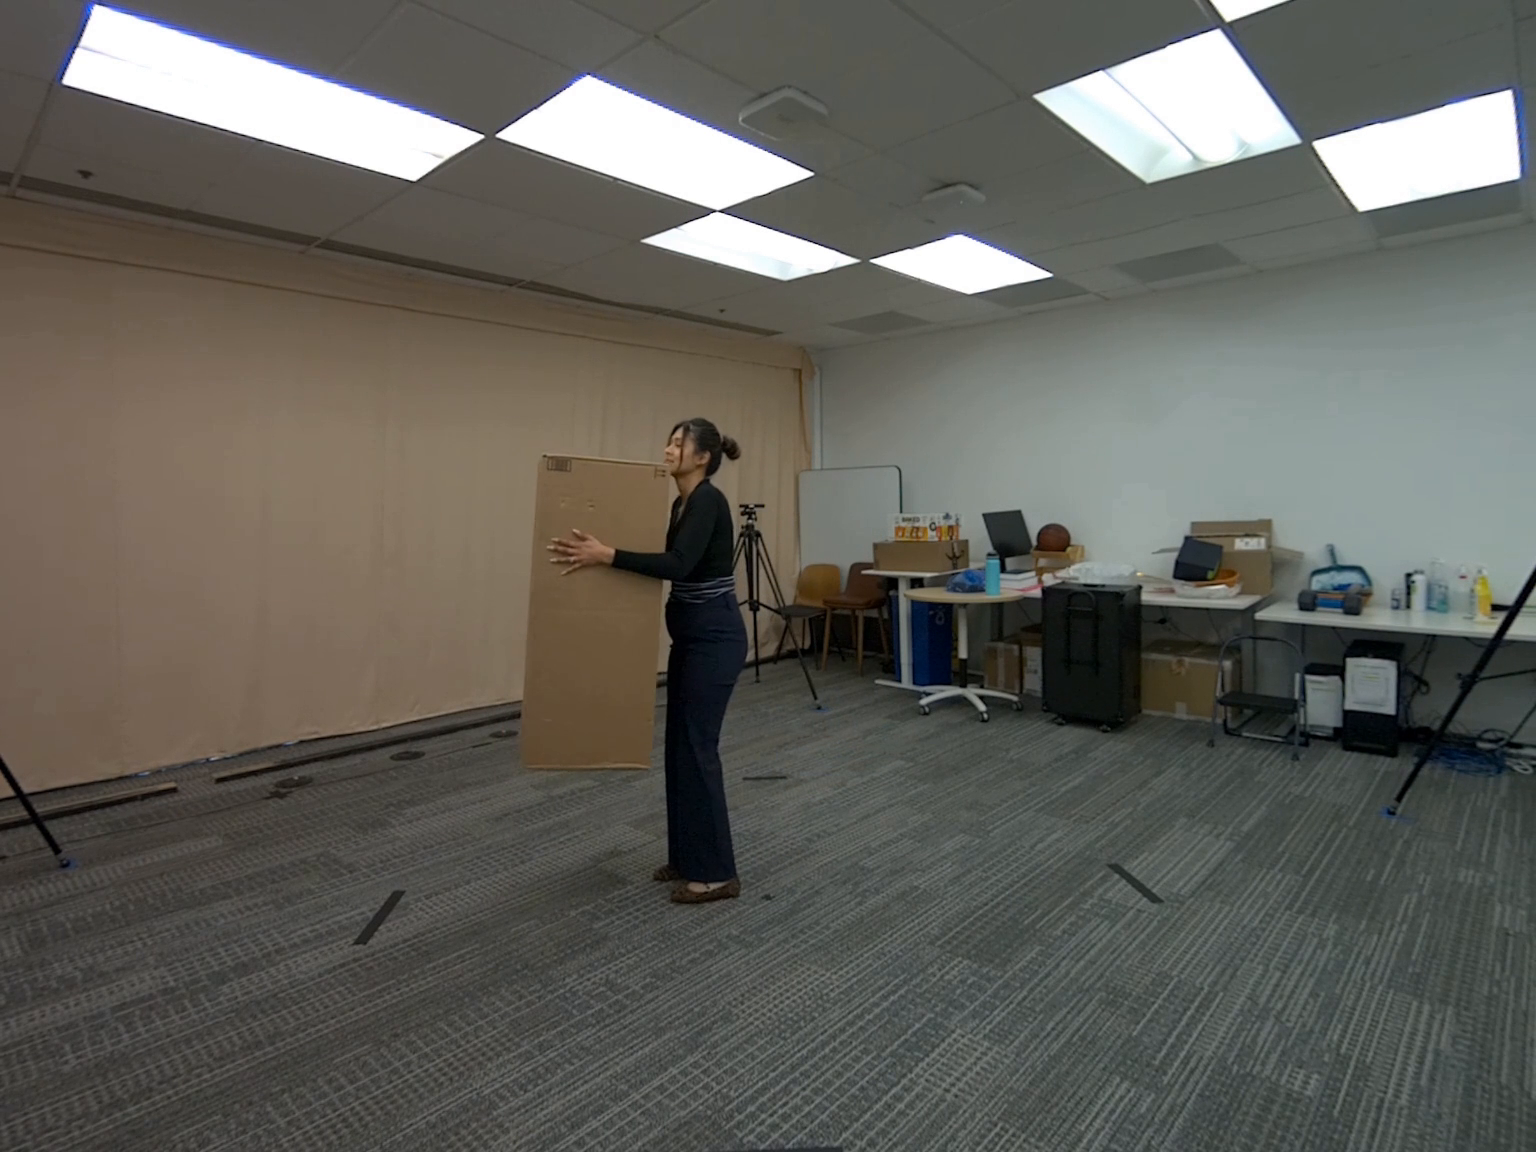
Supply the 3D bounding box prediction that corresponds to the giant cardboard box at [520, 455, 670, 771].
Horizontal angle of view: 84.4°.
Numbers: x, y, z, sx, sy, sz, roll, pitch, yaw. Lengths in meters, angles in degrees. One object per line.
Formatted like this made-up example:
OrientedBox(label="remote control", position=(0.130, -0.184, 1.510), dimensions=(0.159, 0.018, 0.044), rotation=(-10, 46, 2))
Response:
OrientedBox(label="giant cardboard box", position=(-0.633, 0.111, 3.023), dimensions=(0.419, 1.025, 0.587), rotation=(4, 2, -16))
